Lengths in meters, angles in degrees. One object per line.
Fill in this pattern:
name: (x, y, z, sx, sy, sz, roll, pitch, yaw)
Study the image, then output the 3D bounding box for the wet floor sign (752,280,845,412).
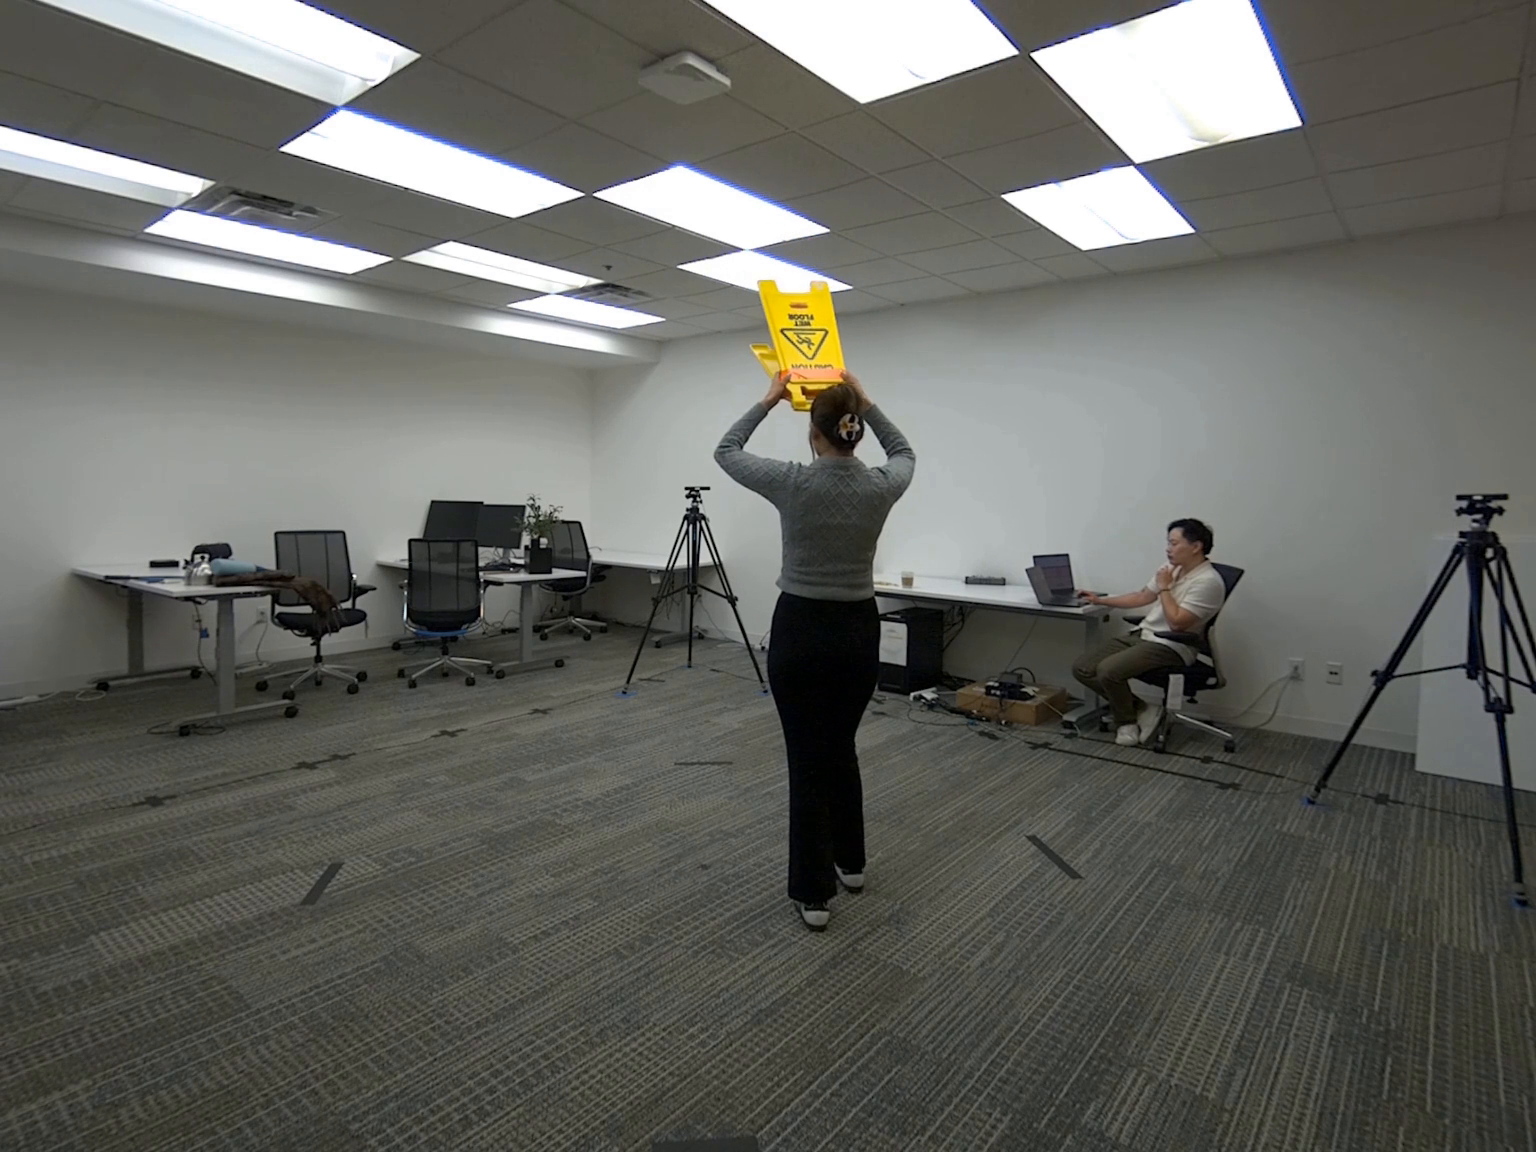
wet floor sign: (0.126, -0.801, 3.116, 0.279, 0.282, 0.669, -3, 45, -10)
